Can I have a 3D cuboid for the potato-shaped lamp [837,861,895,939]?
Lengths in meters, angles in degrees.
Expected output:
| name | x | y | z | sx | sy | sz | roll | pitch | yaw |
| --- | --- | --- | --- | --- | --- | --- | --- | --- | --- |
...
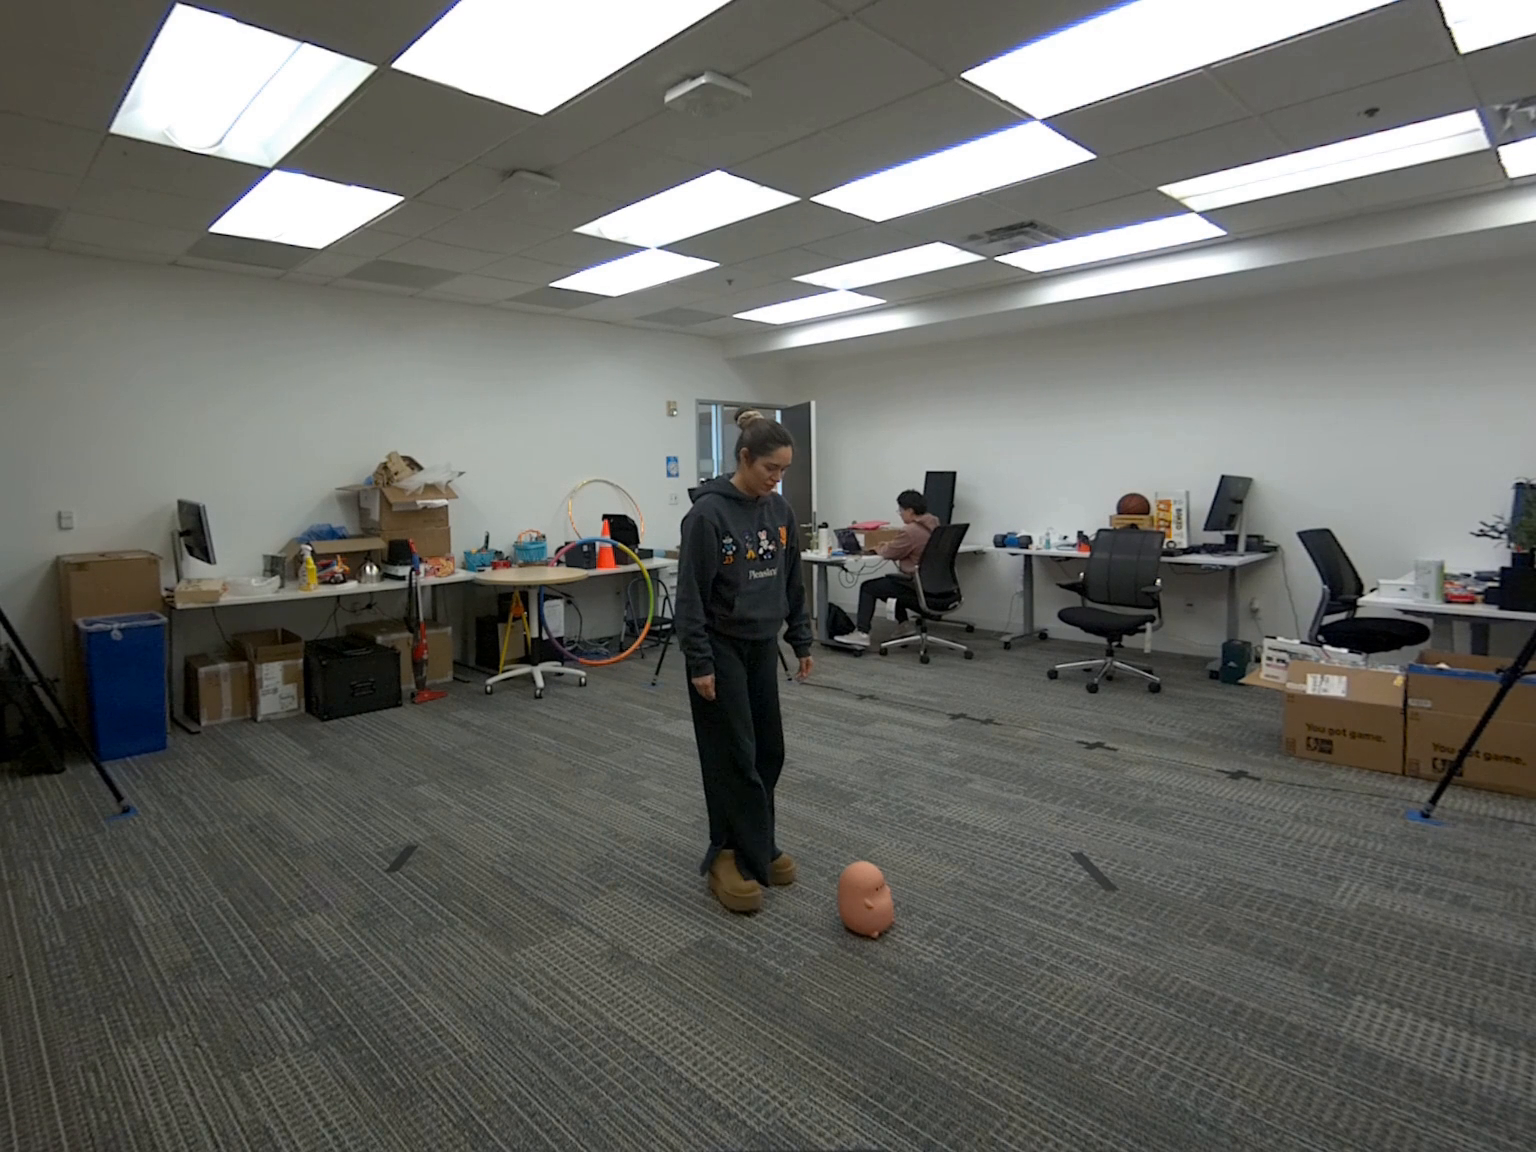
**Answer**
| name | x | y | z | sx | sy | sz | roll | pitch | yaw |
| --- | --- | --- | --- | --- | --- | --- | --- | --- | --- |
| potato-shaped lamp | 0.307 | 0.994 | 2.636 | 0.177 | 0.197 | 0.160 | 4 | 7 | 41 |
